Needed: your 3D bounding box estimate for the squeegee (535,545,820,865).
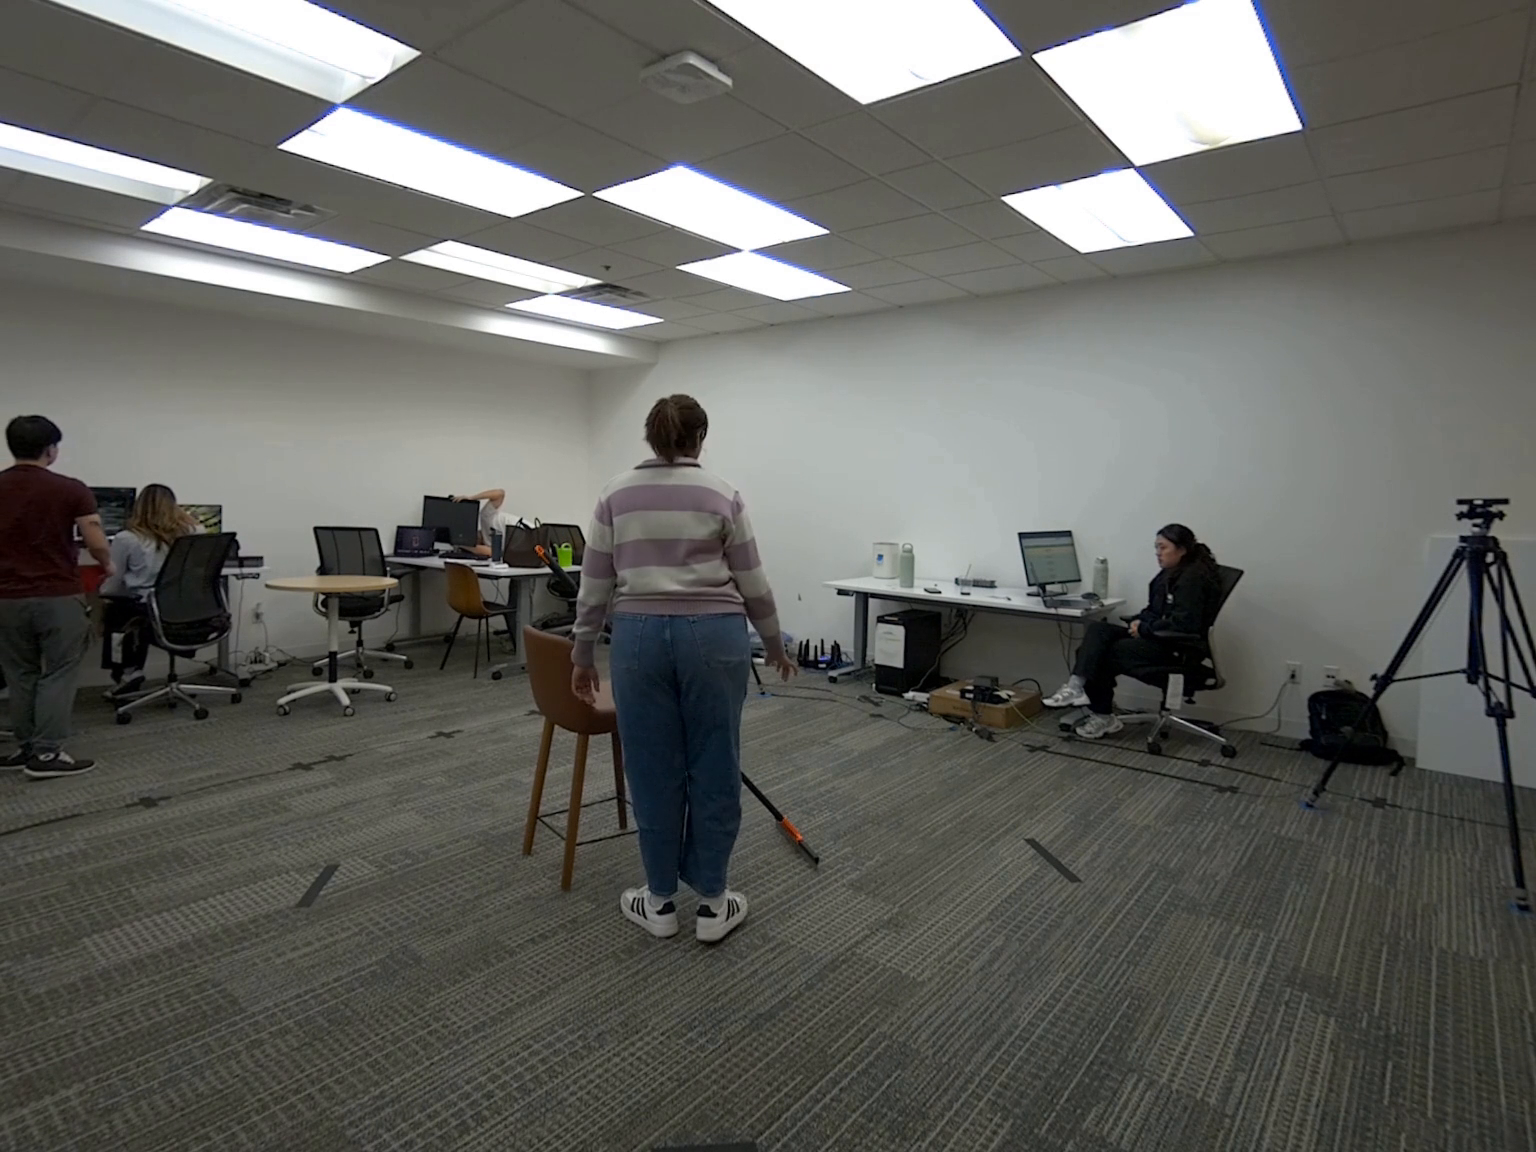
[{"bbox_3d":[-0.343,0.456,3.171,0.053,1.513,0.445,-42,12,-13],"label":"squeegee"}]
